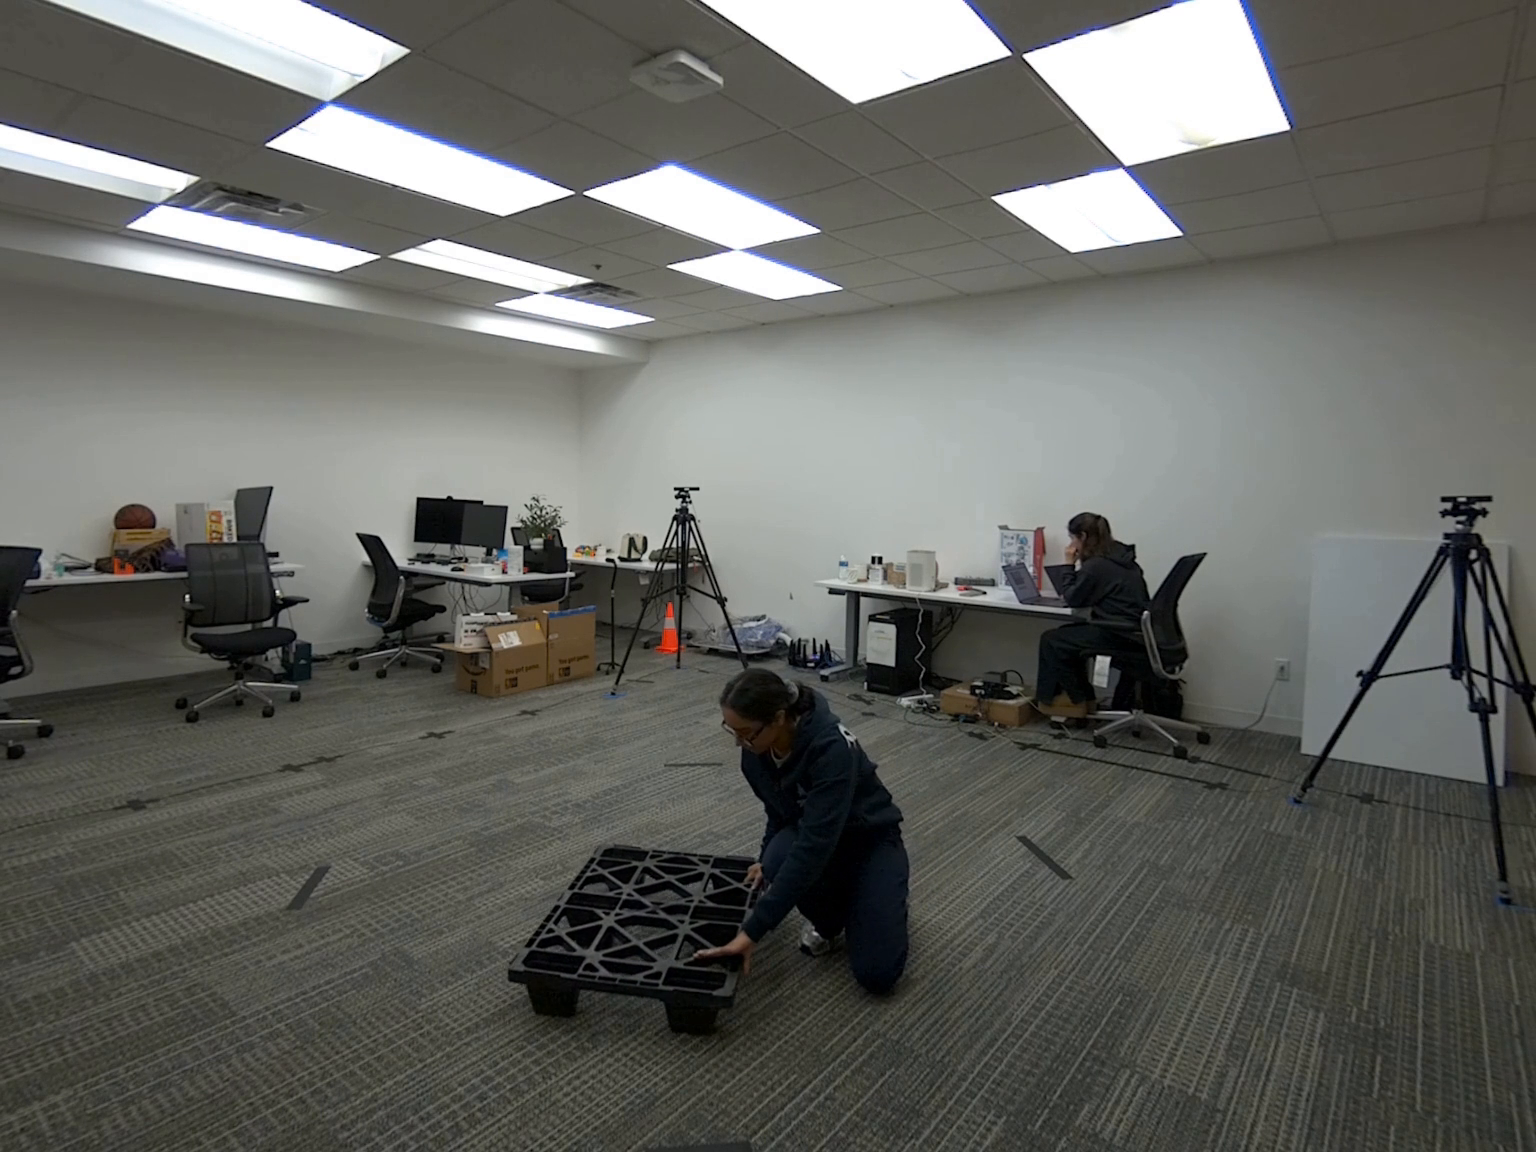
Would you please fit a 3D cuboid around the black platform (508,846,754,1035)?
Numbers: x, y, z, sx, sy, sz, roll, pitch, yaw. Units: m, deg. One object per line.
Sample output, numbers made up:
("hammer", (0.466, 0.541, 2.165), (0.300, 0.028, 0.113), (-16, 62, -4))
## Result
("black platform", (-0.346, 1.051, 2.556), (0.611, 0.143, 0.801), (2, 6, 7))
